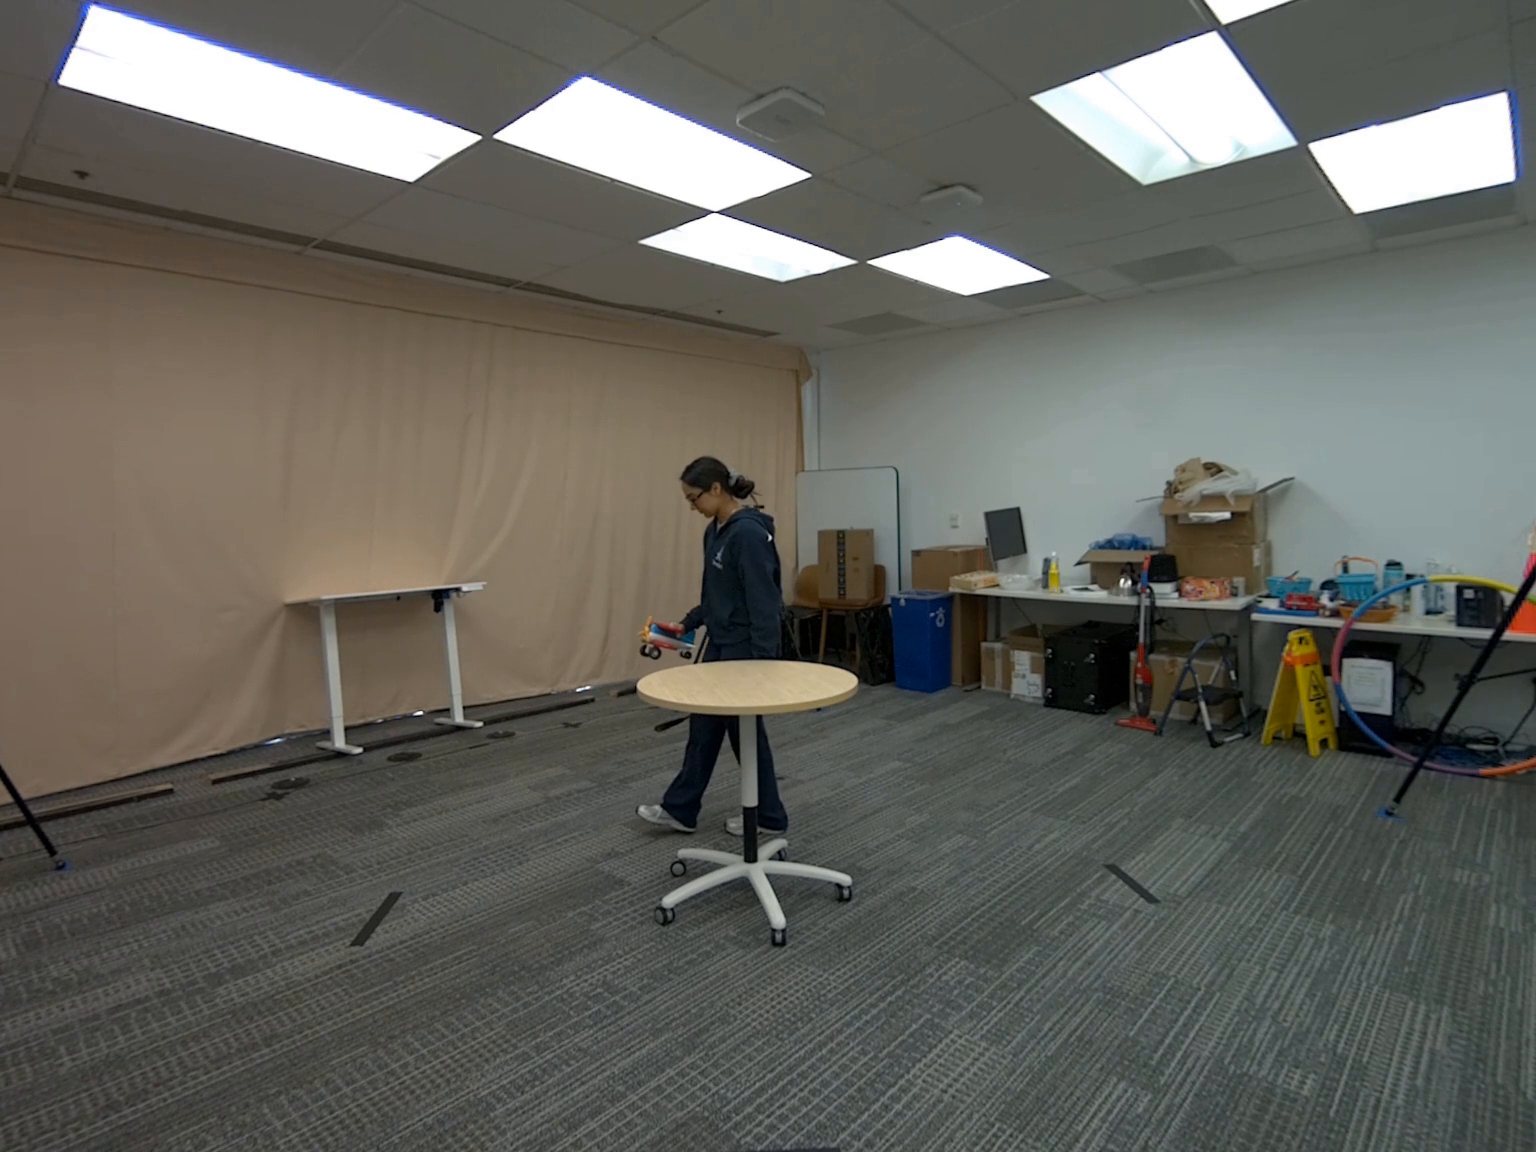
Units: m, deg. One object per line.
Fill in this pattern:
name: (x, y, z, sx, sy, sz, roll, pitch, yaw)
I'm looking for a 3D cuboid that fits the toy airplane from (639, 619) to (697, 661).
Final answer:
toy airplane: (-0.441, 0.285, 3.691, 0.259, 0.156, 0.251, 5, 0, 32)
